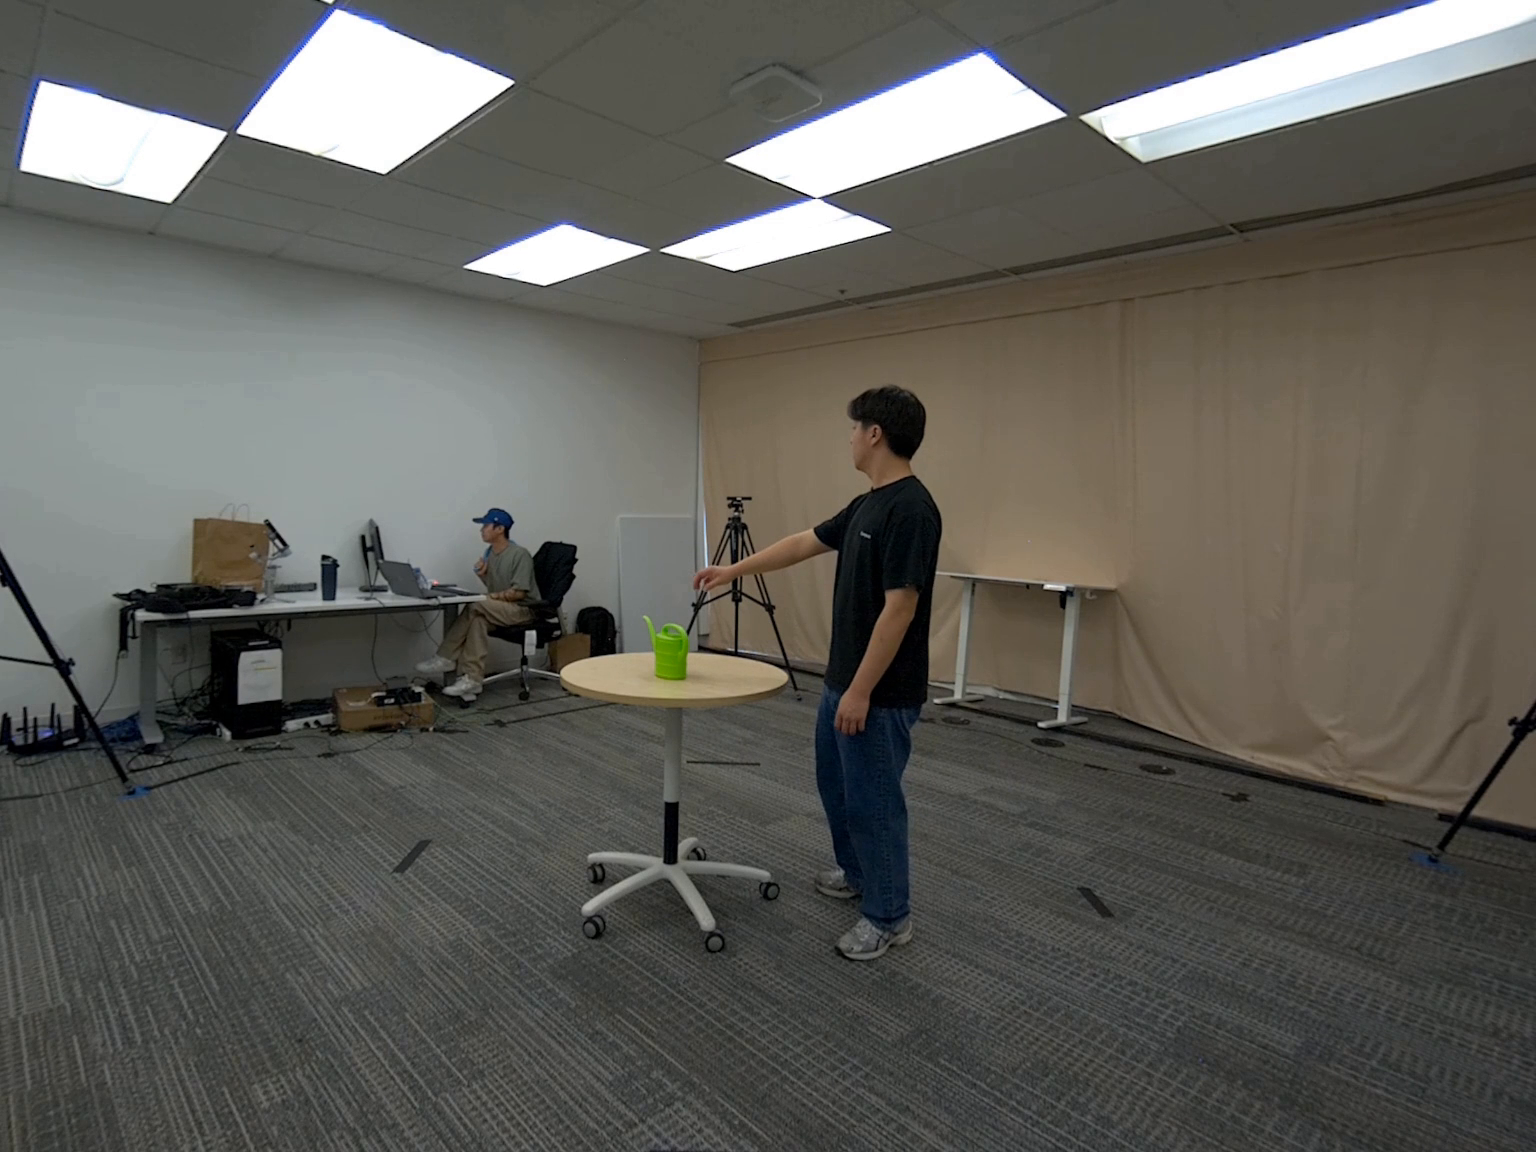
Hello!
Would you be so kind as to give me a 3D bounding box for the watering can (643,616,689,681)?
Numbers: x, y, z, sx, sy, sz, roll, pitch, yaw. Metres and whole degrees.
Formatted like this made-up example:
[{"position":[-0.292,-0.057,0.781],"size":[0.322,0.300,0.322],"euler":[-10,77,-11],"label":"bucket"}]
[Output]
[{"position":[-0.346,0.246,2.819],"size":[0.096,0.176,0.284],"euler":[3,5,-25],"label":"watering can"}]
